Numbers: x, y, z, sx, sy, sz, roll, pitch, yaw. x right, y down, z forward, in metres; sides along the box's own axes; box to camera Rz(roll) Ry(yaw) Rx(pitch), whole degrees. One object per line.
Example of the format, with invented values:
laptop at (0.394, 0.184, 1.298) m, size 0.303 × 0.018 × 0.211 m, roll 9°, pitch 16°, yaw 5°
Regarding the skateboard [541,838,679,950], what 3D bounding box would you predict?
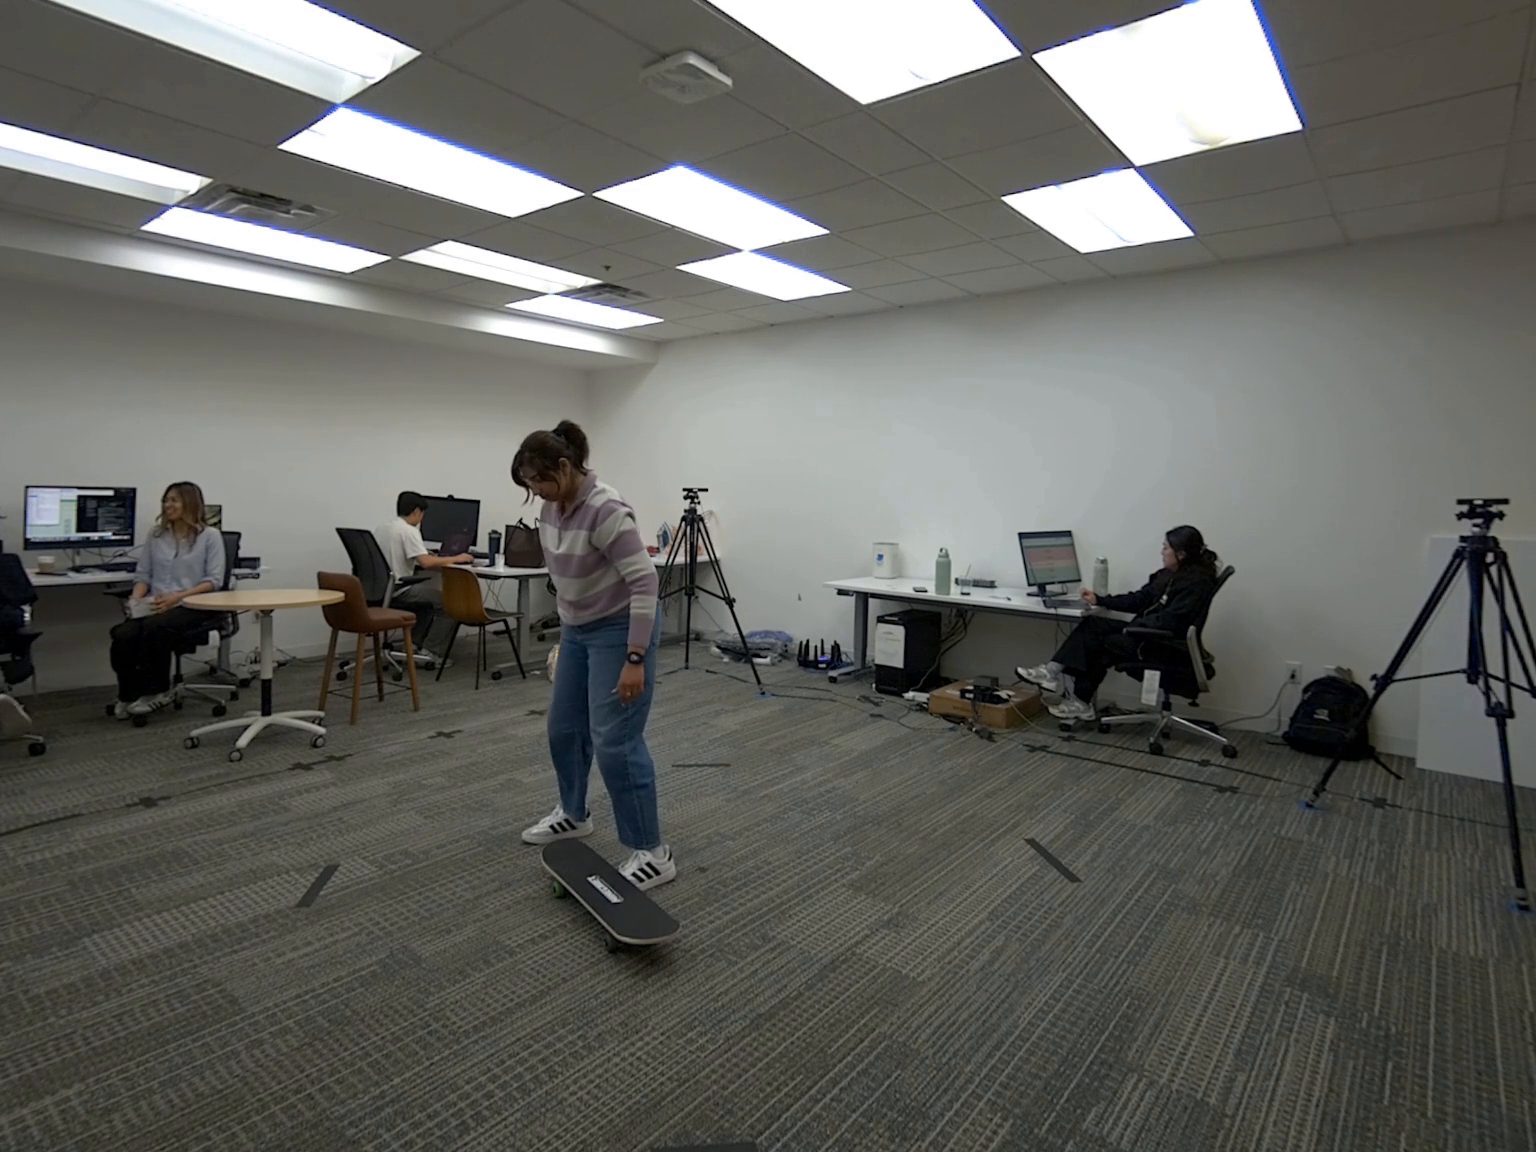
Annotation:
skateboard at (-0.539, 1.041, 2.746) m, size 0.188 × 0.110 × 0.811 m, roll -3°, pitch 6°, yaw -35°
